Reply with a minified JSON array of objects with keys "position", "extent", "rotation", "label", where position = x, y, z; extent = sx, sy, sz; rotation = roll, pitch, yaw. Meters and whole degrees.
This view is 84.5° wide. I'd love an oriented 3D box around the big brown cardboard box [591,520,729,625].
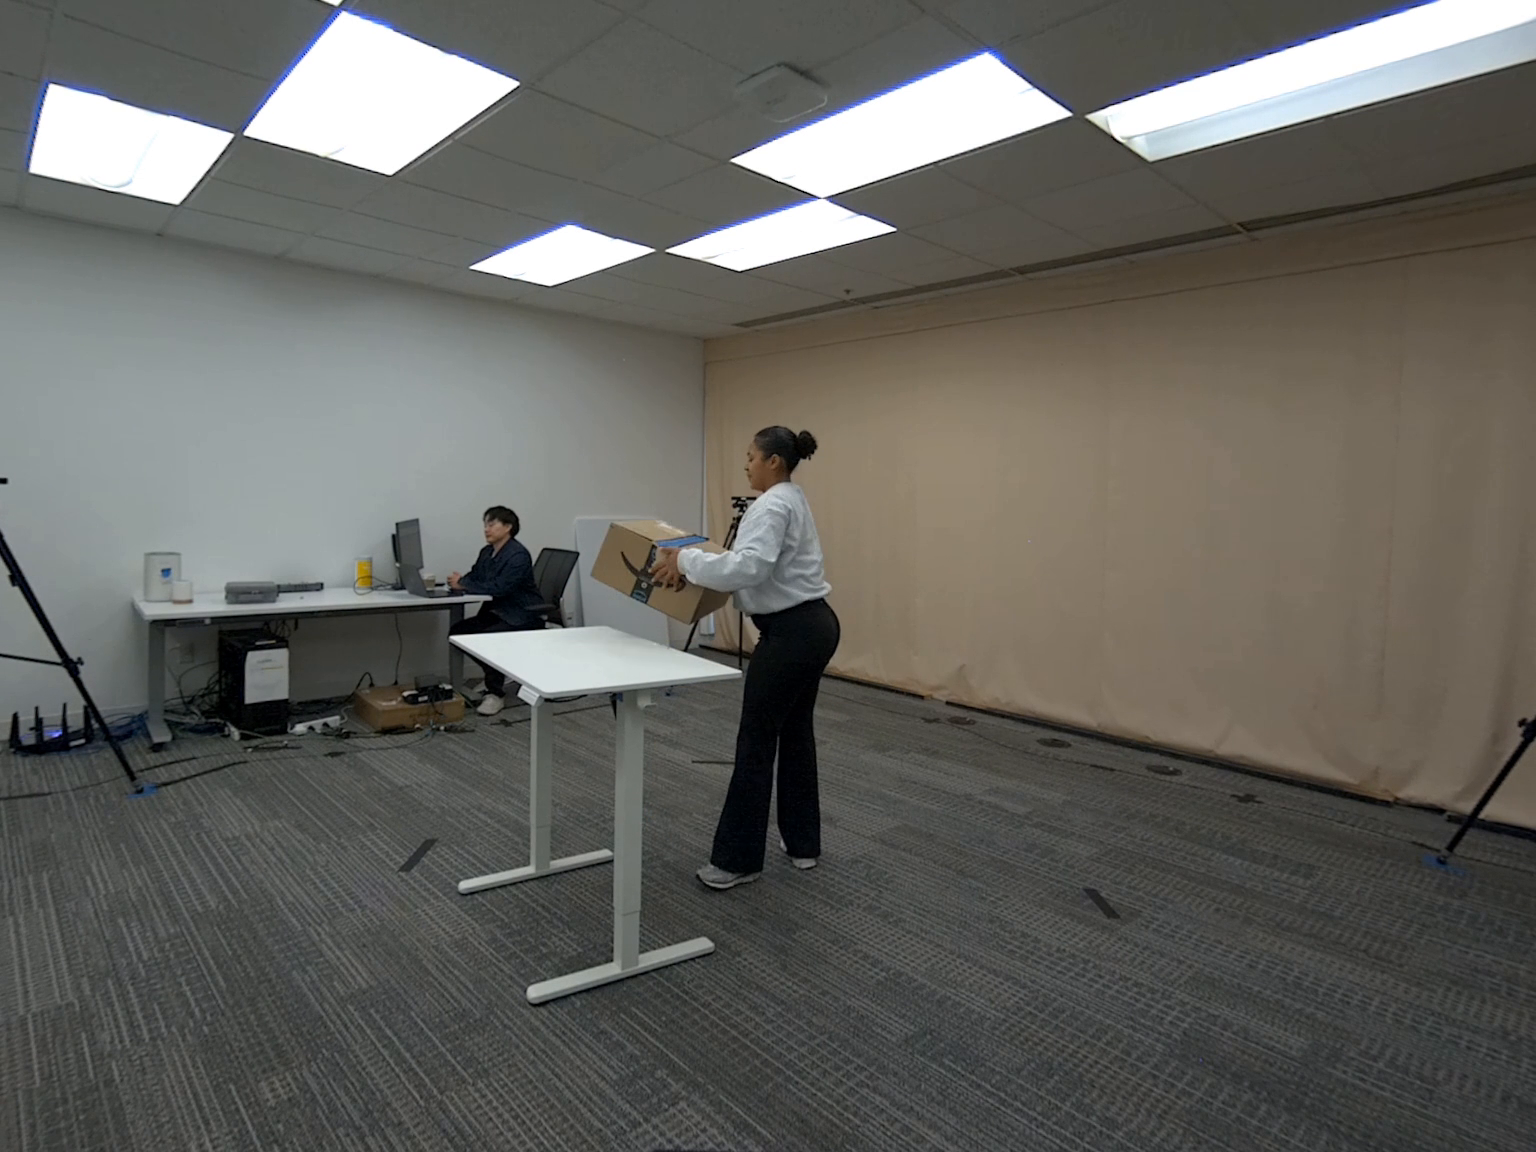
[{"position":[-0.365,-0.027,3.260],"extent":[0.422,0.232,0.585],"rotation":[24,10,9],"label":"big brown cardboard box"}]
